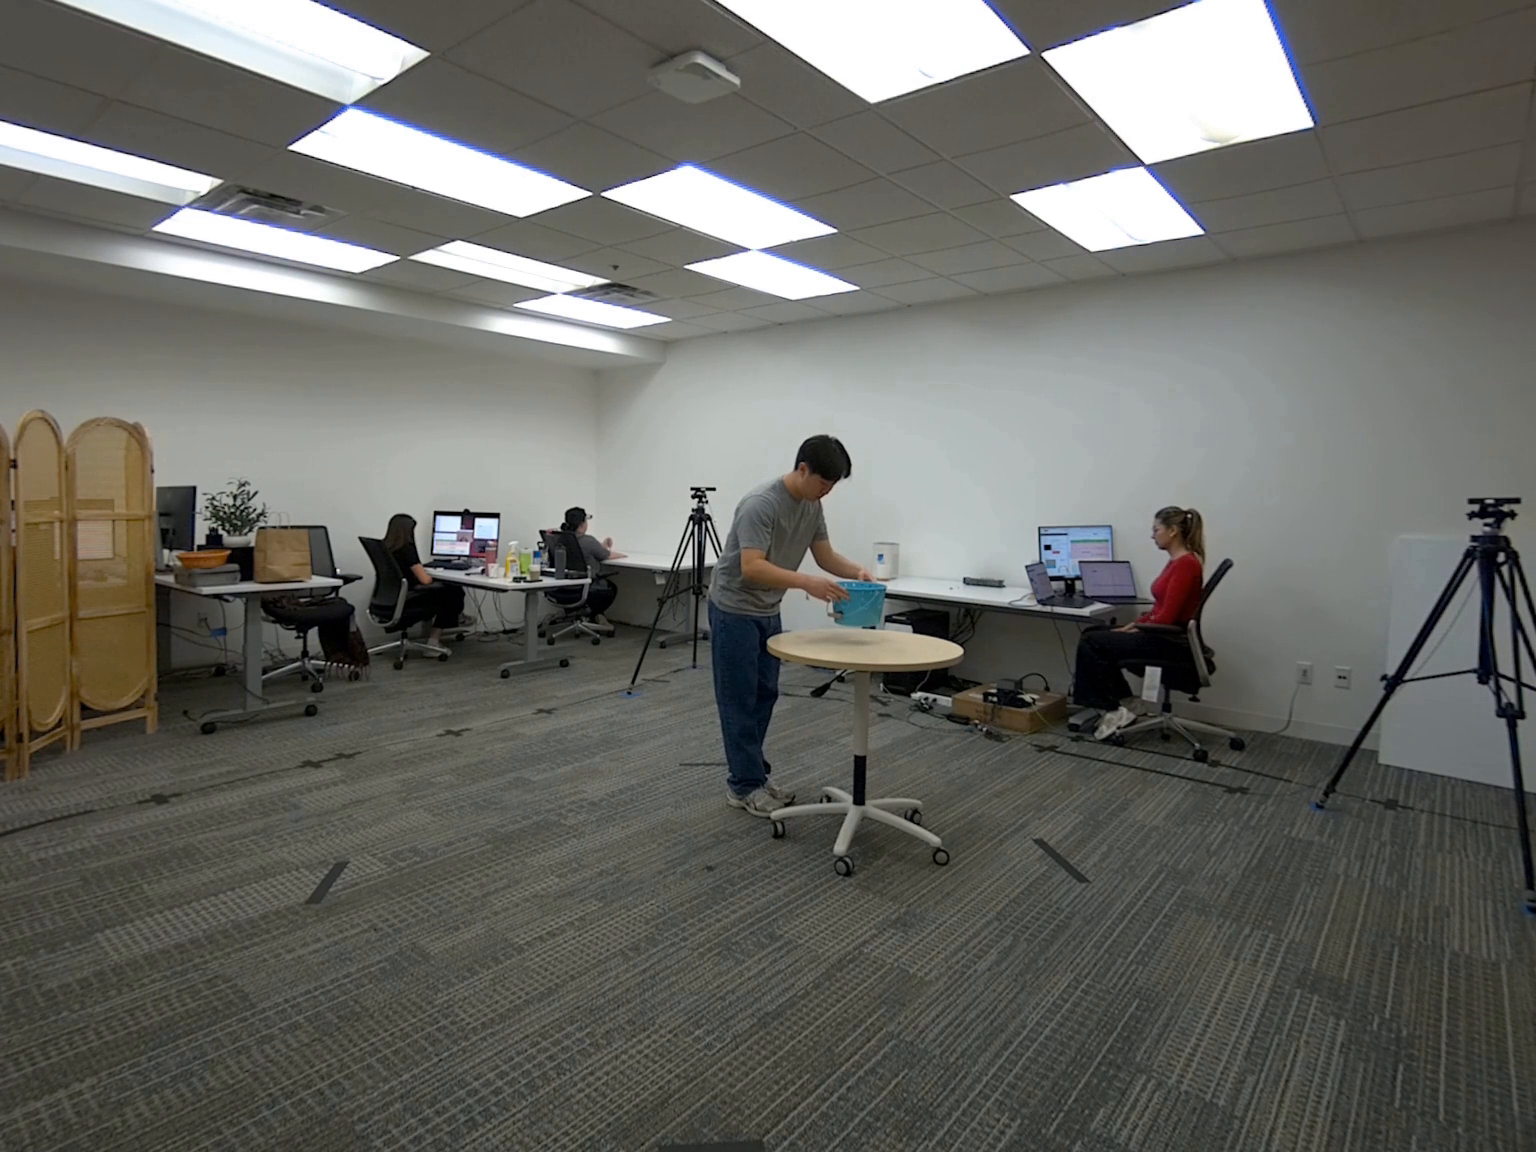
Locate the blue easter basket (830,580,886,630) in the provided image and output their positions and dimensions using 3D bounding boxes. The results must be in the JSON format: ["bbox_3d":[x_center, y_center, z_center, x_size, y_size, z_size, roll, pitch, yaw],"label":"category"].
[{"bbox_3d":[0.350,0.108,3.412,0.243,0.155,0.244,1,3,-2],"label":"blue easter basket"}]
